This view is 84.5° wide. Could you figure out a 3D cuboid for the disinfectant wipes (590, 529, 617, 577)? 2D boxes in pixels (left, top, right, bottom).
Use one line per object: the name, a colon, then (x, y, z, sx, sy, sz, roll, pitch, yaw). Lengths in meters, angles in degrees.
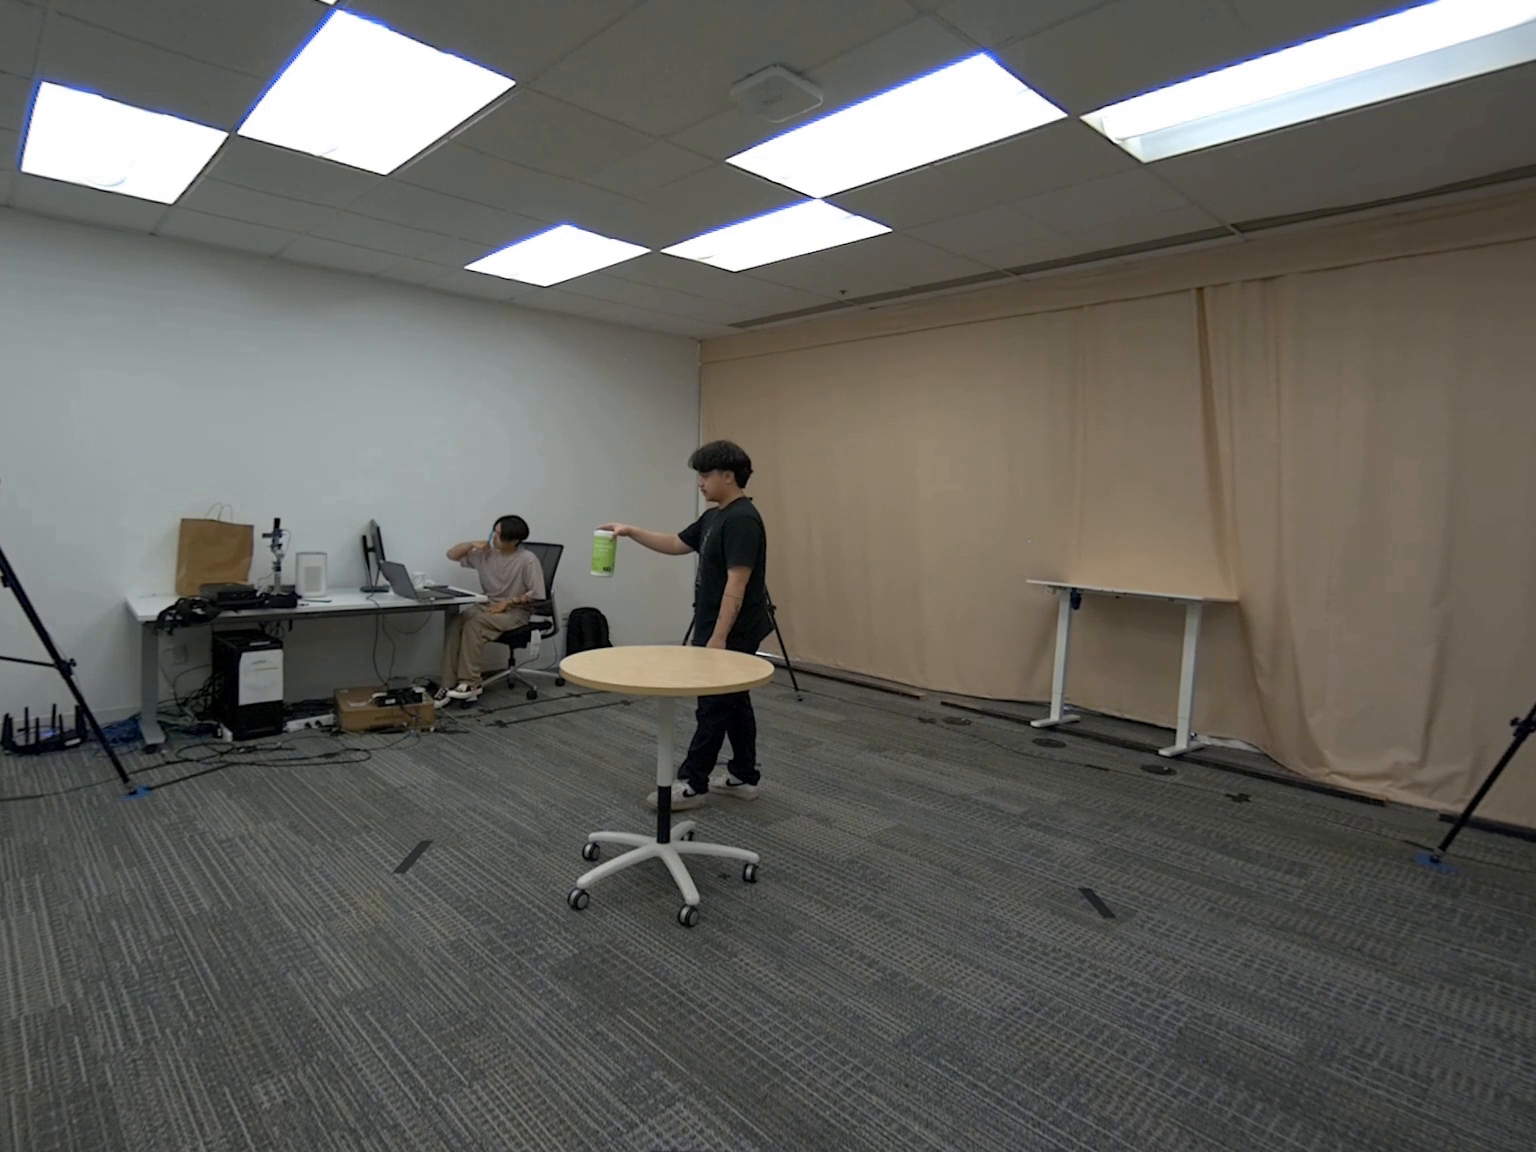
disinfectant wipes: (-0.776, -0.106, 3.946, 0.118, 0.217, 0.118, 6, 2, -2)
